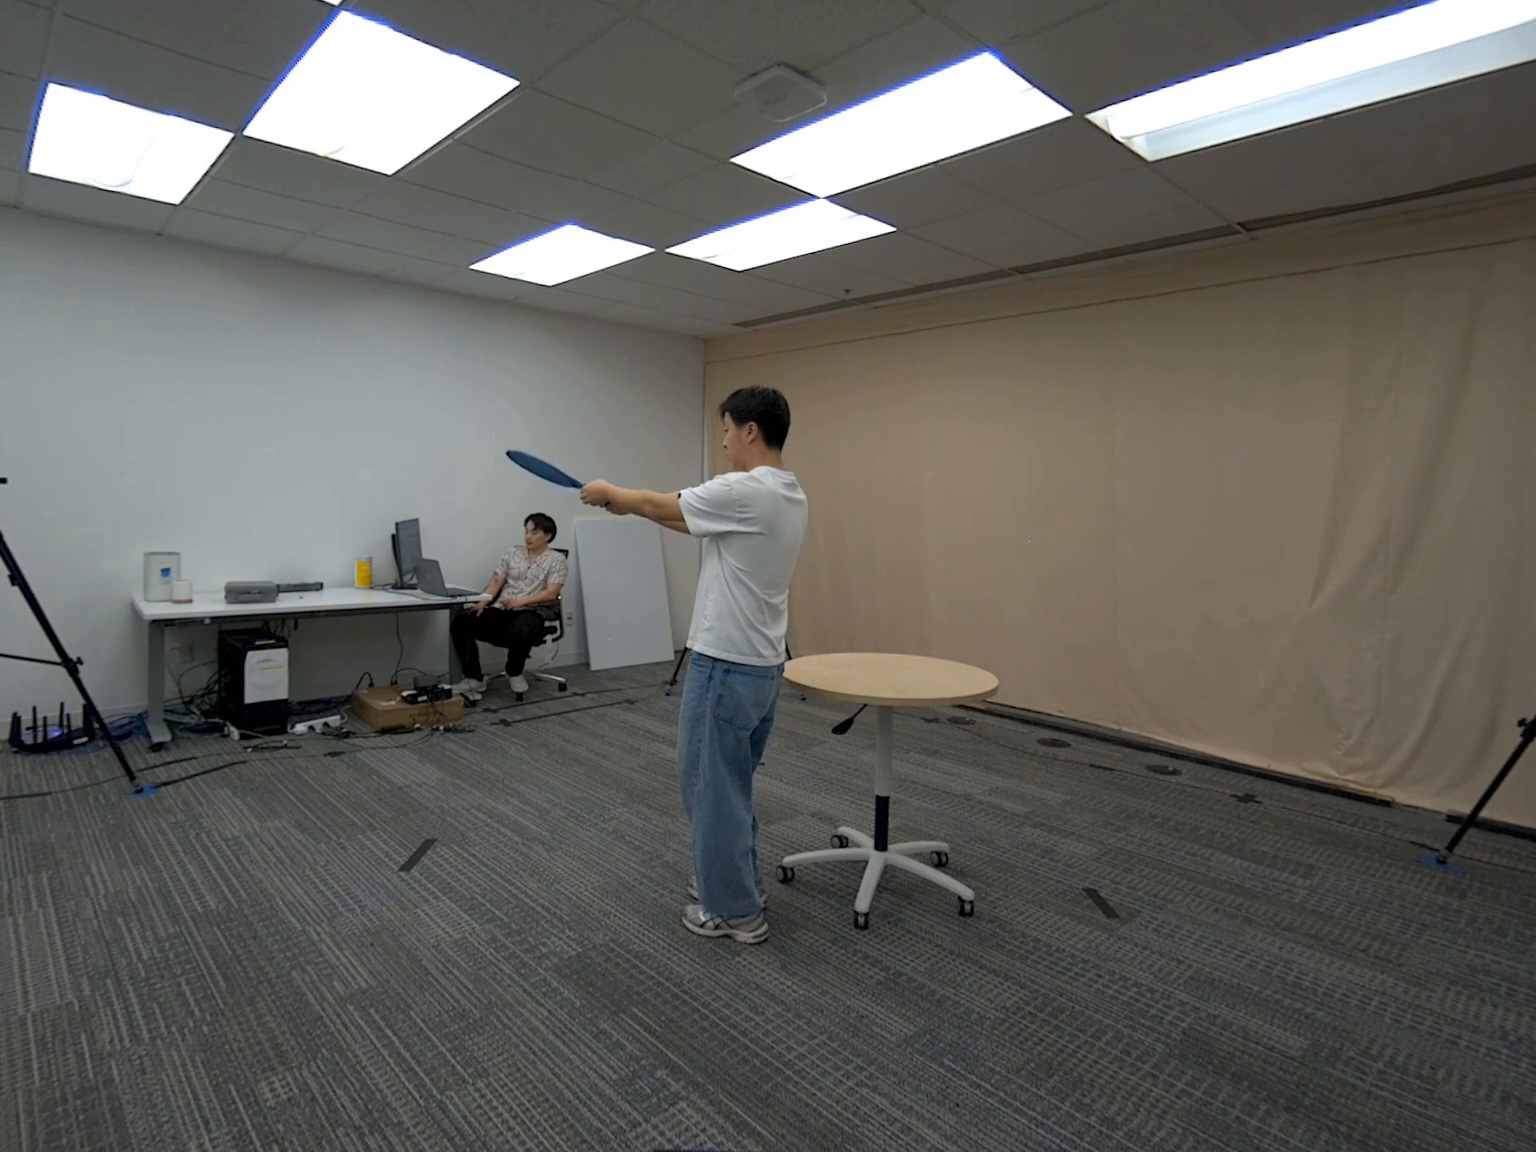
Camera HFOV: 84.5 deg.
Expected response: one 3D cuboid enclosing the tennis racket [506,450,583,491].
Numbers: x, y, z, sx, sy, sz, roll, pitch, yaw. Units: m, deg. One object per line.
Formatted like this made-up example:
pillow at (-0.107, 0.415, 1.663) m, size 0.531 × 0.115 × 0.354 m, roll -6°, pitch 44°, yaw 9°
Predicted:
tennis racket at (-0.727, -0.352, 2.951) m, size 0.437 × 0.032 × 0.211 m, roll 24°, pitch -14°, yaw 8°
